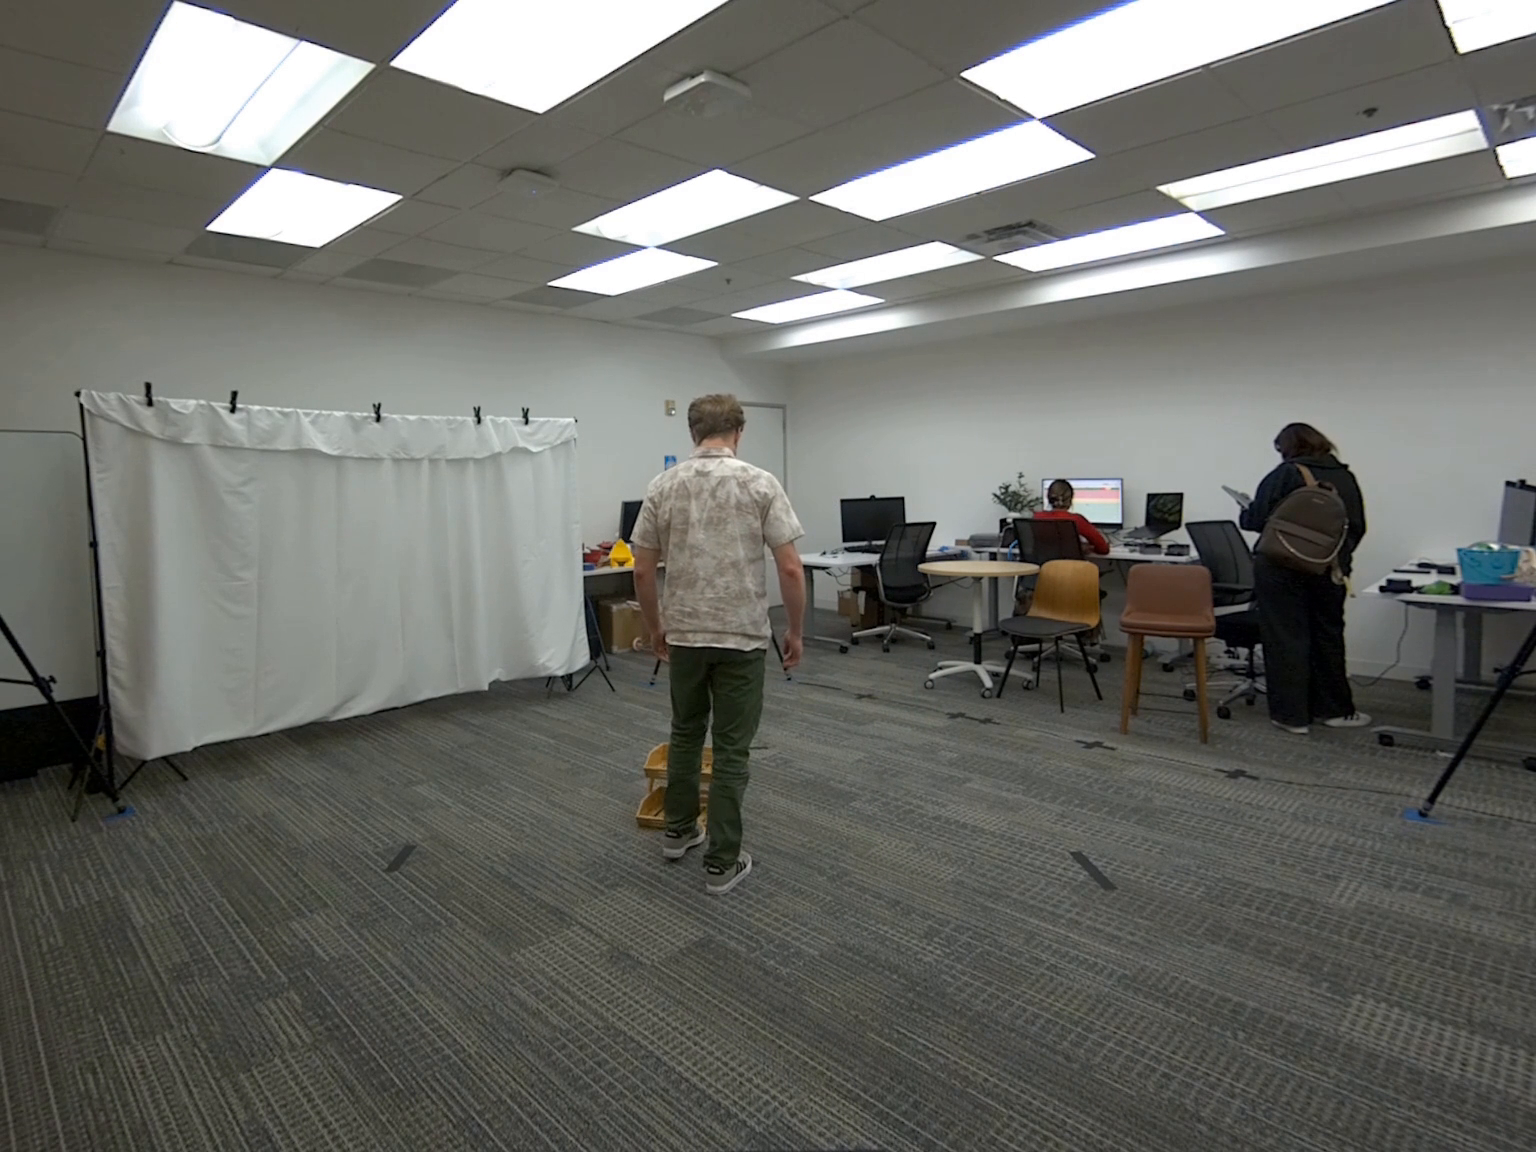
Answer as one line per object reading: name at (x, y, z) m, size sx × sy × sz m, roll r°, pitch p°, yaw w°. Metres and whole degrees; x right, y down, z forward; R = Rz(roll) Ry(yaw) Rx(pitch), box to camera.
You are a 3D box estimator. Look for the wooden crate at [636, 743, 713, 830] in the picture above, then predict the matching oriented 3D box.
wooden crate at (-0.345, 0.866, 3.519) m, size 0.330 × 0.272 × 0.298 m, roll 0°, pitch 4°, yaw 17°
